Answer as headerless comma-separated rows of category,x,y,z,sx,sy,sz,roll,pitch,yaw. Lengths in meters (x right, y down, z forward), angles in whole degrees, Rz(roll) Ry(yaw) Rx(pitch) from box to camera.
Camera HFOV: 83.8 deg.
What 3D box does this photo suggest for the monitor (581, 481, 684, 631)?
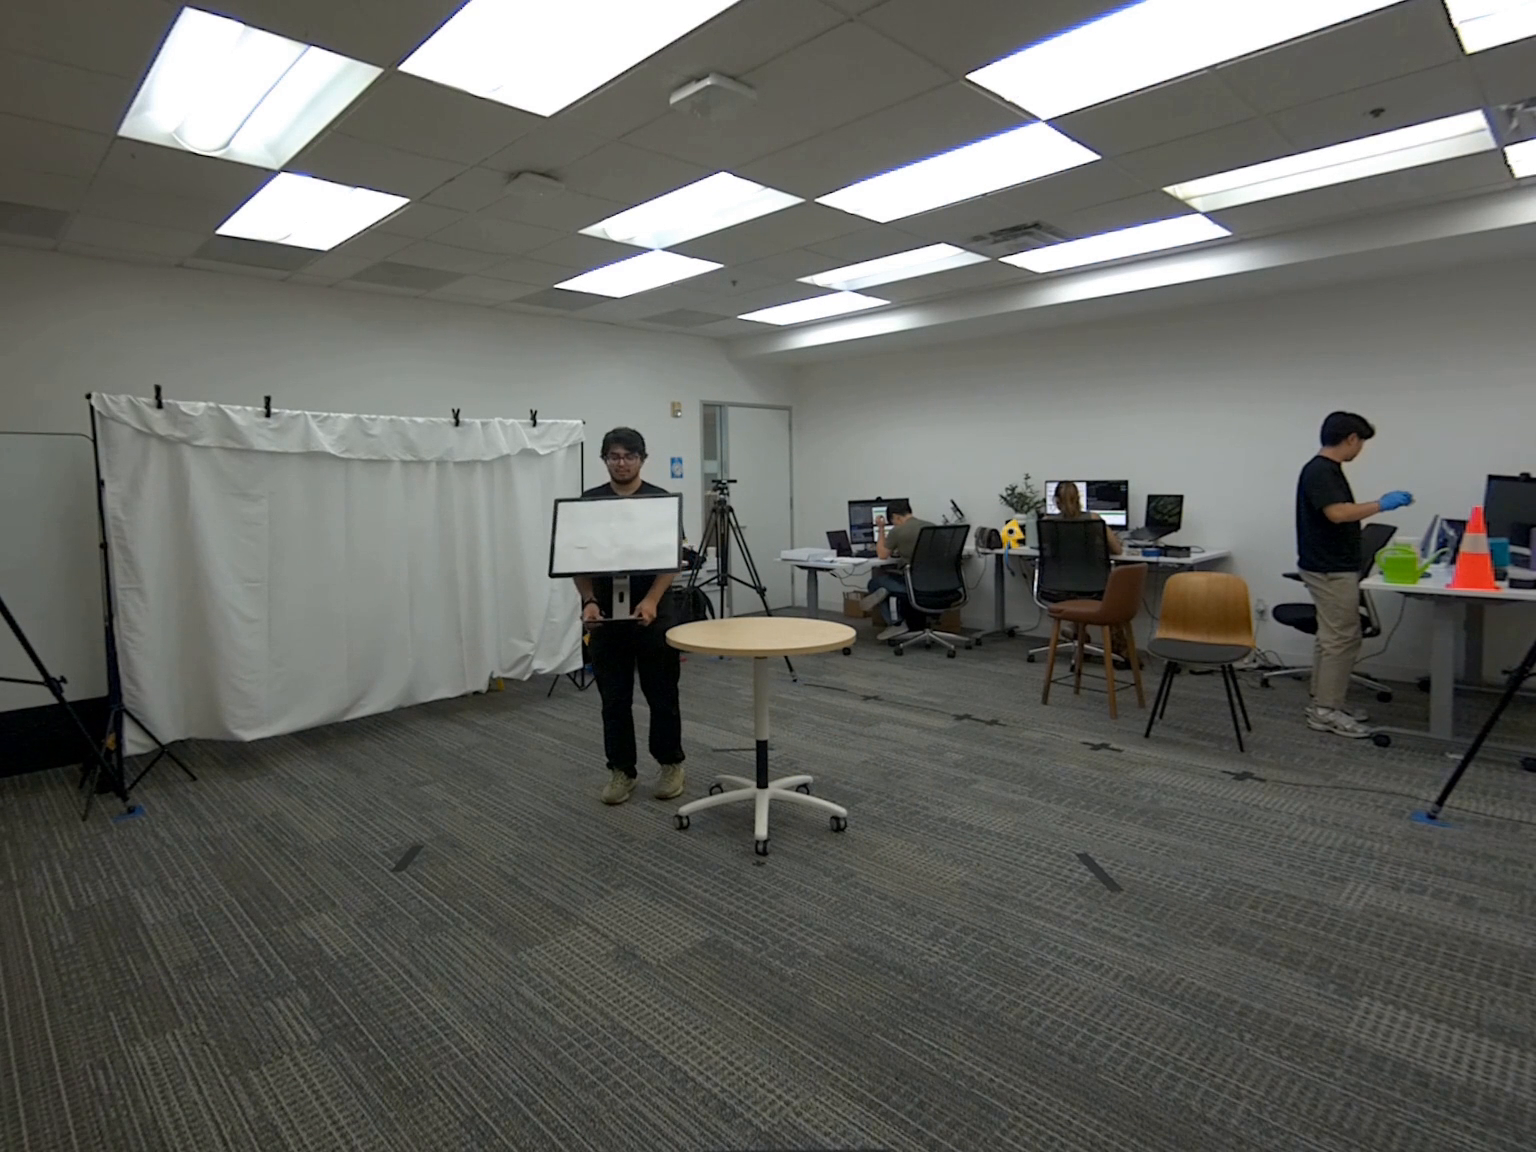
monitor,-0.634,-0.060,3.638,0.568,0.563,0.206,-4,-17,4
